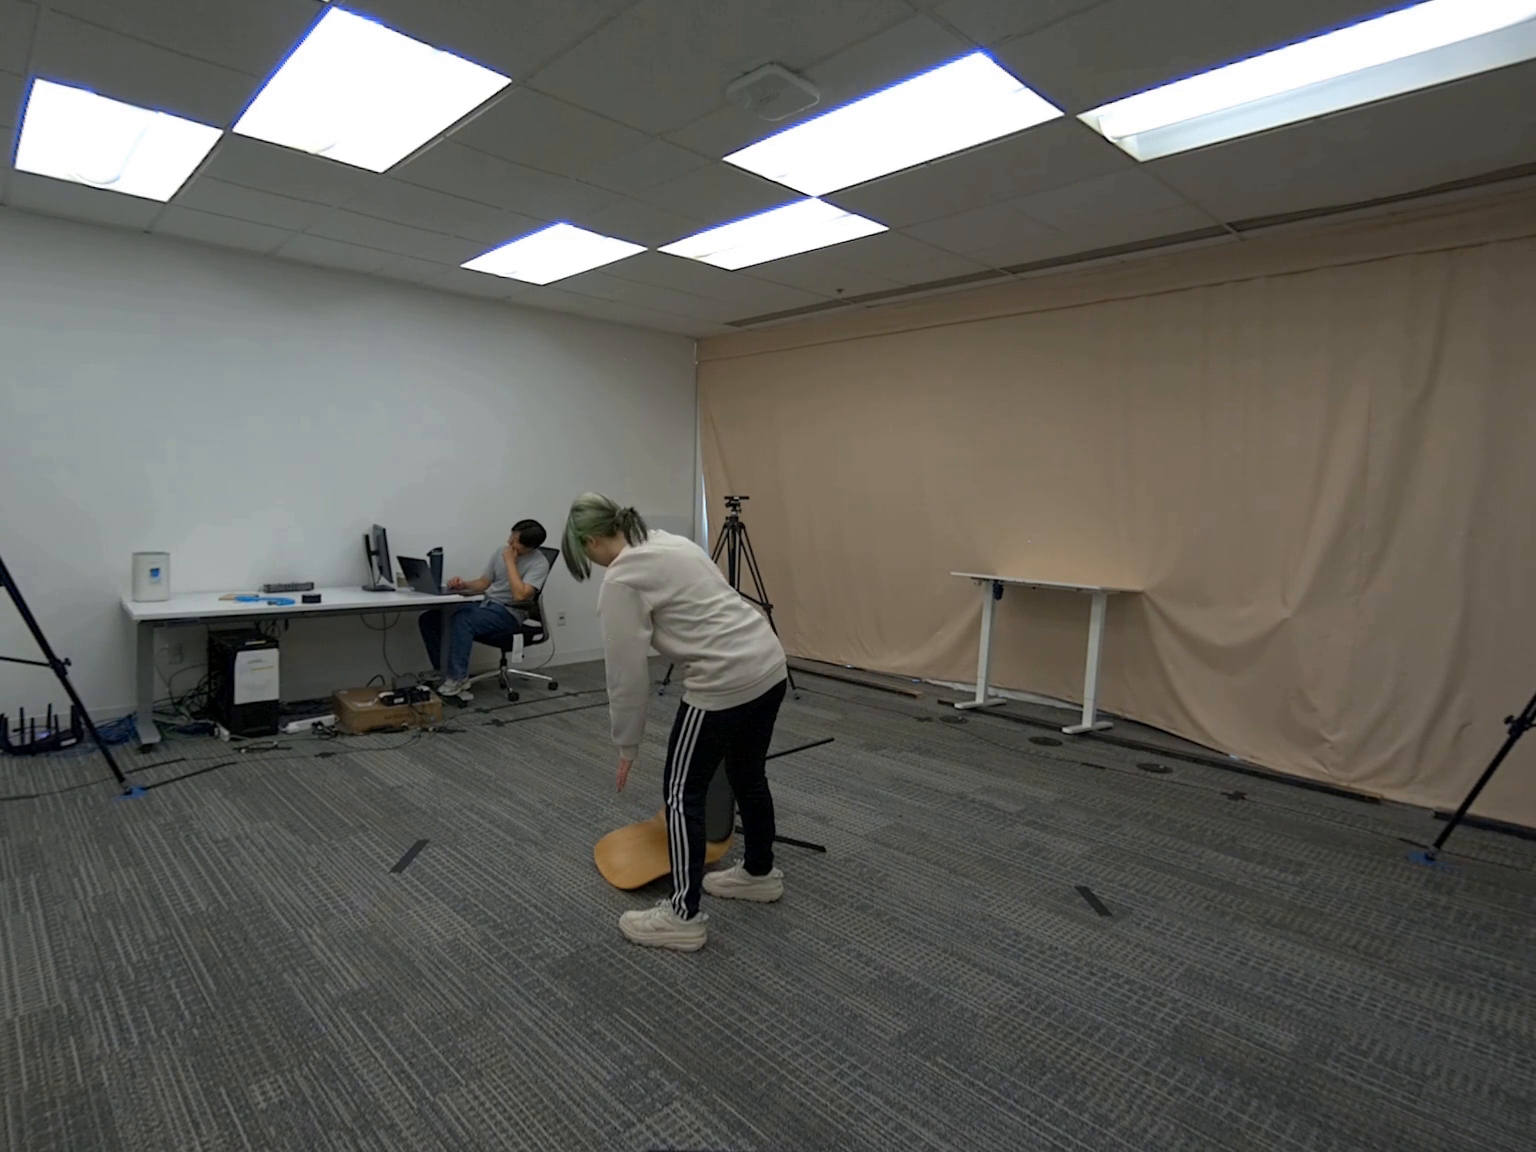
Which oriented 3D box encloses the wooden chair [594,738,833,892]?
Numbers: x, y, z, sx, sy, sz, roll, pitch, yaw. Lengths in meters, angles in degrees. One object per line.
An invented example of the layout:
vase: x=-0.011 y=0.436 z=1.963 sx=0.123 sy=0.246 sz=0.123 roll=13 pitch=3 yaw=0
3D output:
wooden chair: x=-0.233 y=0.829 z=3.261 sx=0.858 sy=0.522 sz=0.490 roll=-3 pitch=5 yaw=-36
